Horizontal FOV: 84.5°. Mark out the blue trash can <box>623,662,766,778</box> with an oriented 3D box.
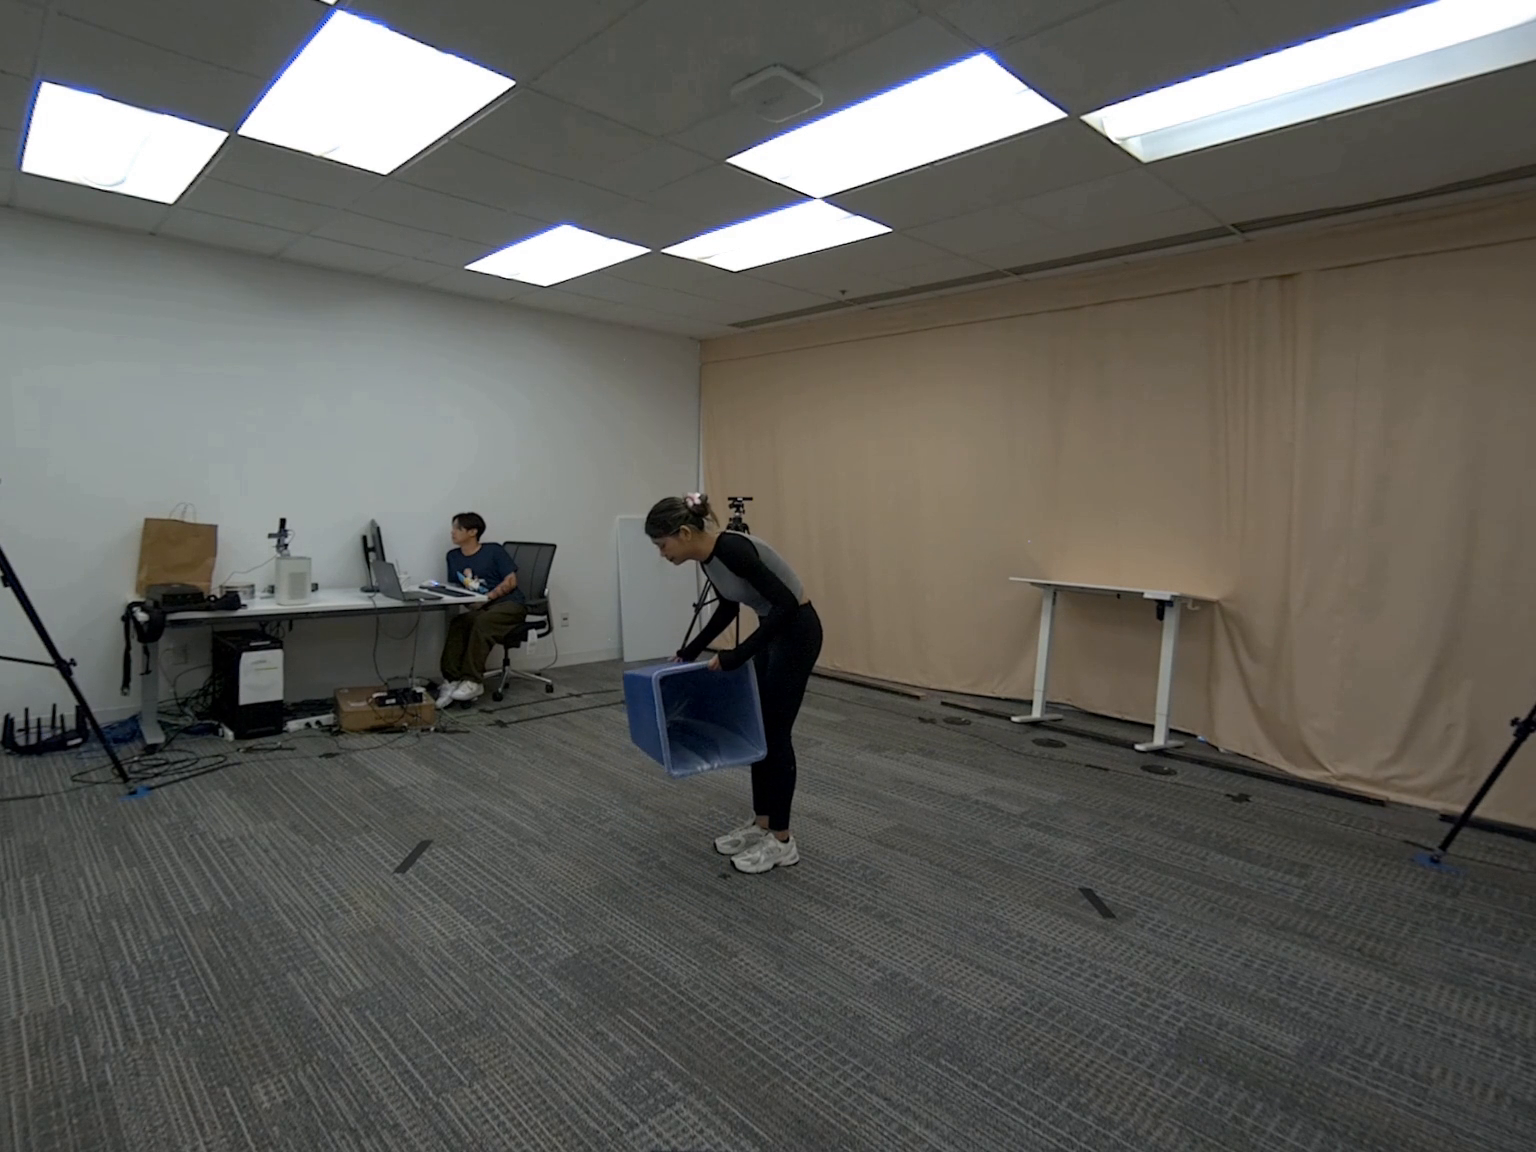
[{"bbox_3d":[-0.345,0.510,3.239,0.373,0.374,0.722,-7,-1,-22],"label":"blue trash can"}]
